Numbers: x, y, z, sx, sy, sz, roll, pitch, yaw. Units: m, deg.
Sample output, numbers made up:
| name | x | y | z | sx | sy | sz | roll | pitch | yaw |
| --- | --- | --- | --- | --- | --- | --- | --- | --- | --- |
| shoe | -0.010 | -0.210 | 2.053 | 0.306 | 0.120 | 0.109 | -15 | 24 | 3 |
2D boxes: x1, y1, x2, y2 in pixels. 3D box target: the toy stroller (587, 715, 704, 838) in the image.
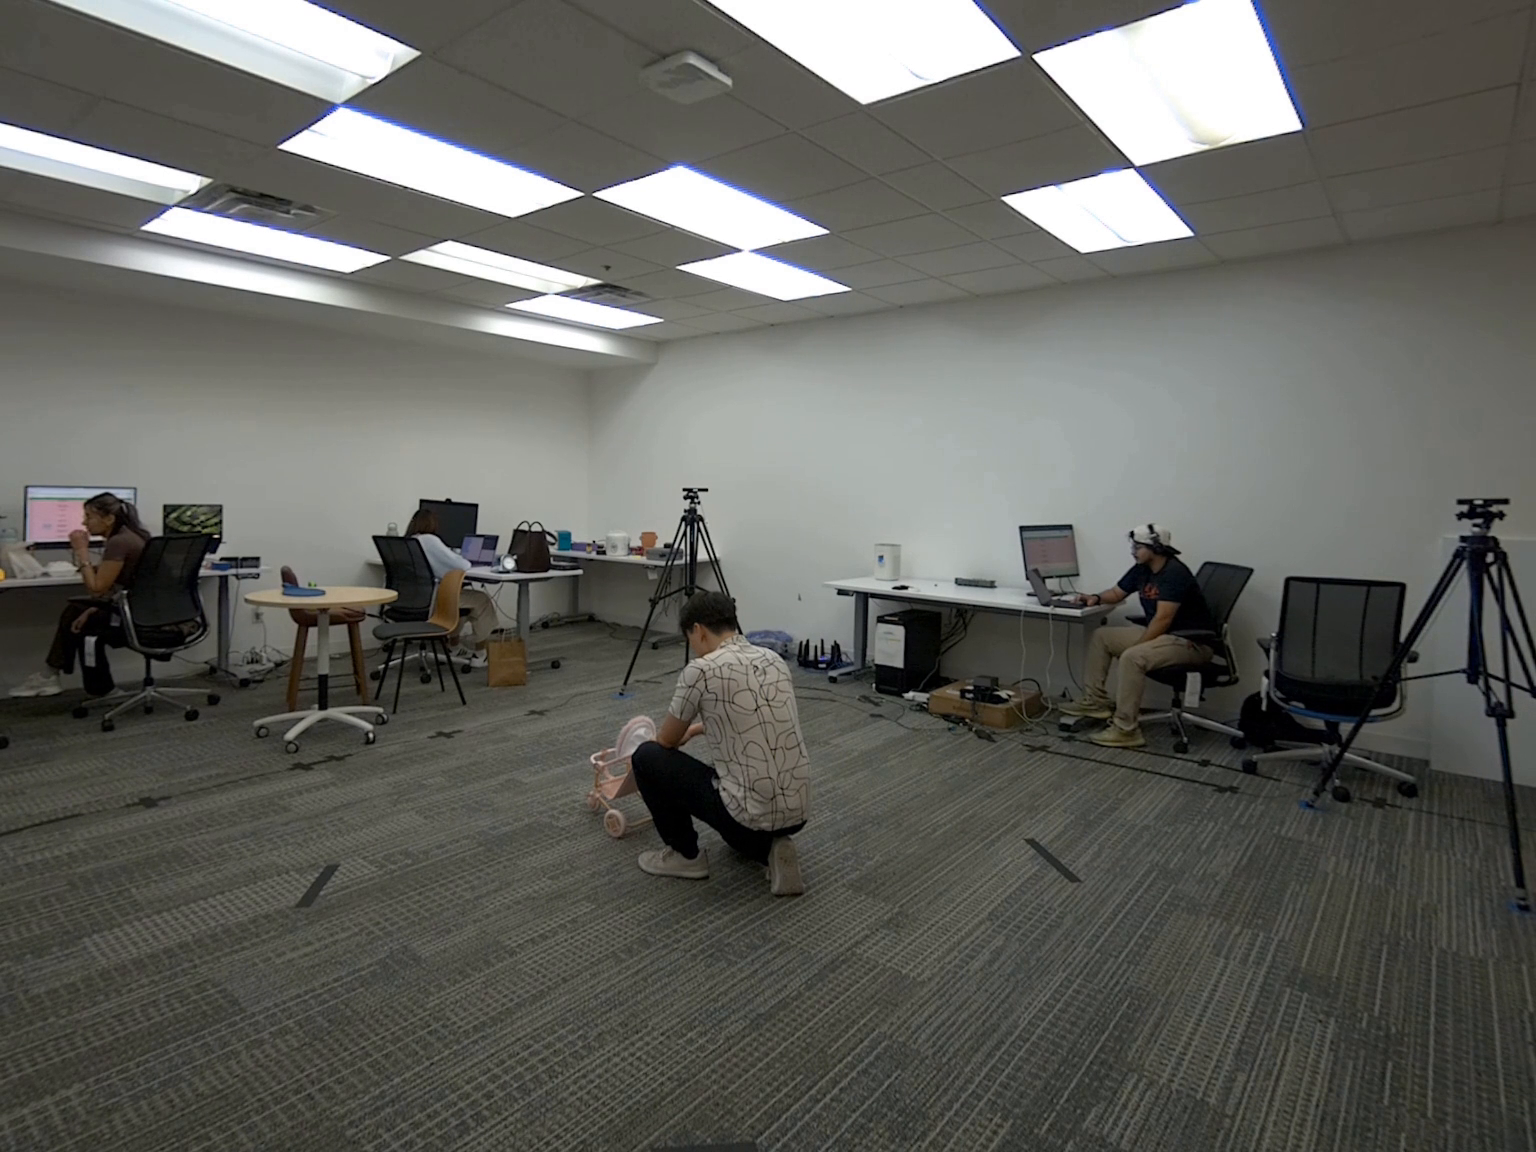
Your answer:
| name | x | y | z | sx | sy | sz | roll | pitch | yaw |
| --- | --- | --- | --- | --- | --- | --- | --- | --- | --- |
| toy stroller | -0.583 | 0.802 | 3.505 | 0.355 | 0.530 | 0.272 | 30 | 18 | 36 |
